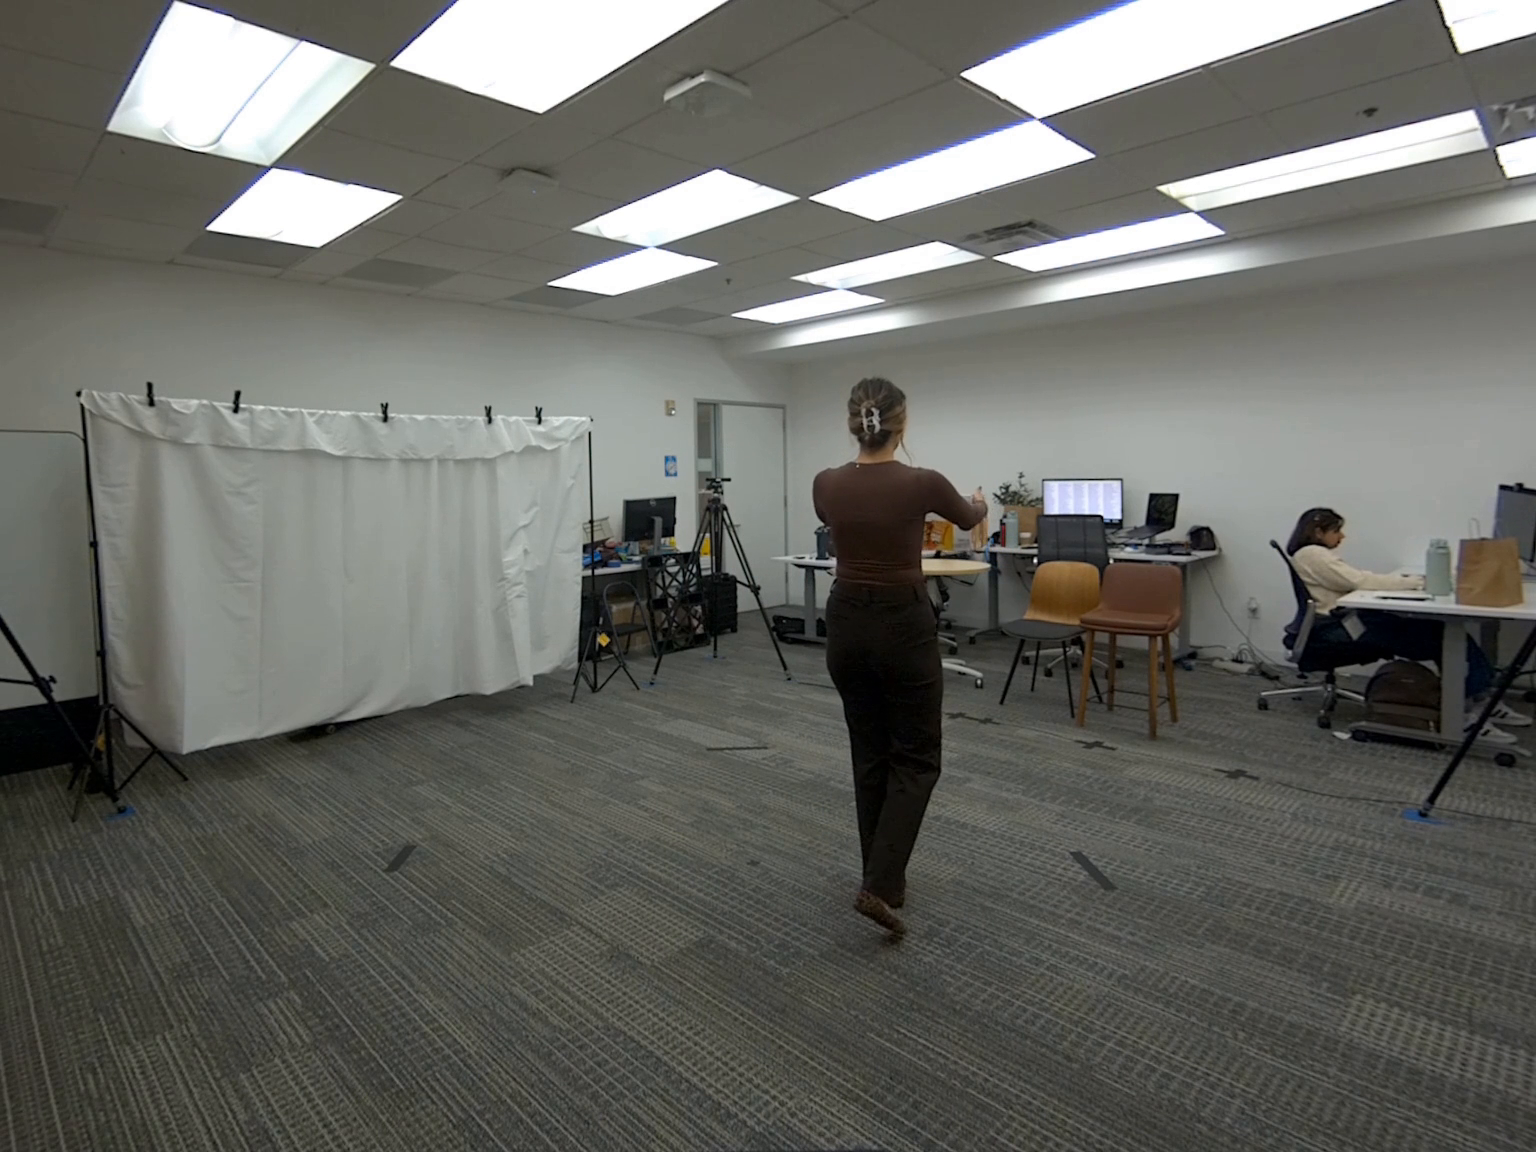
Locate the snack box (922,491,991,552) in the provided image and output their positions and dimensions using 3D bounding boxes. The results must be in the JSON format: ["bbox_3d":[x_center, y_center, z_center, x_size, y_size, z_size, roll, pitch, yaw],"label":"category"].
[{"bbox_3d":[0.621,-0.213,3.298,0.413,0.205,0.335,-1,5,22],"label":"snack box"}]
